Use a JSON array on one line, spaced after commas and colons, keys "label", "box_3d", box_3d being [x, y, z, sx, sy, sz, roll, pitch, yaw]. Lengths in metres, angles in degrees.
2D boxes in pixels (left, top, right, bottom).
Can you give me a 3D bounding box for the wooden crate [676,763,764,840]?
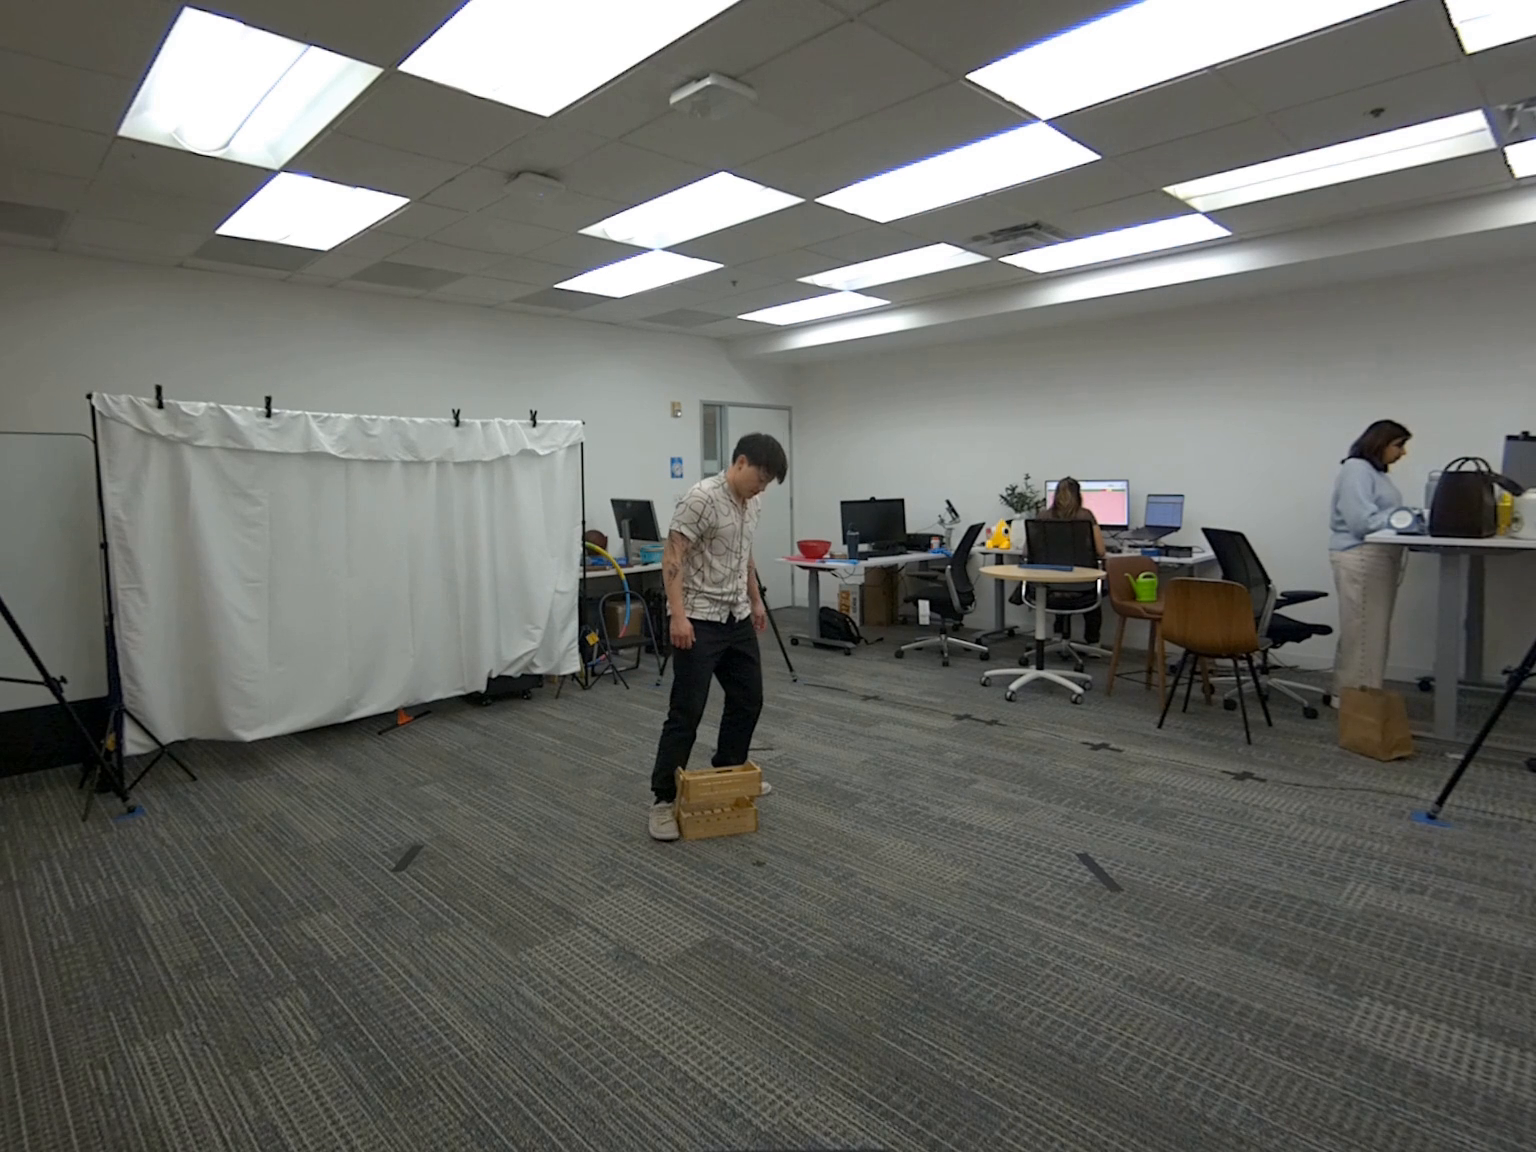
[{"label": "wooden crate", "box_3d": [-0.205, 0.882, 3.449, 0.319, 0.272, 0.308, -3, 6, -17]}]
